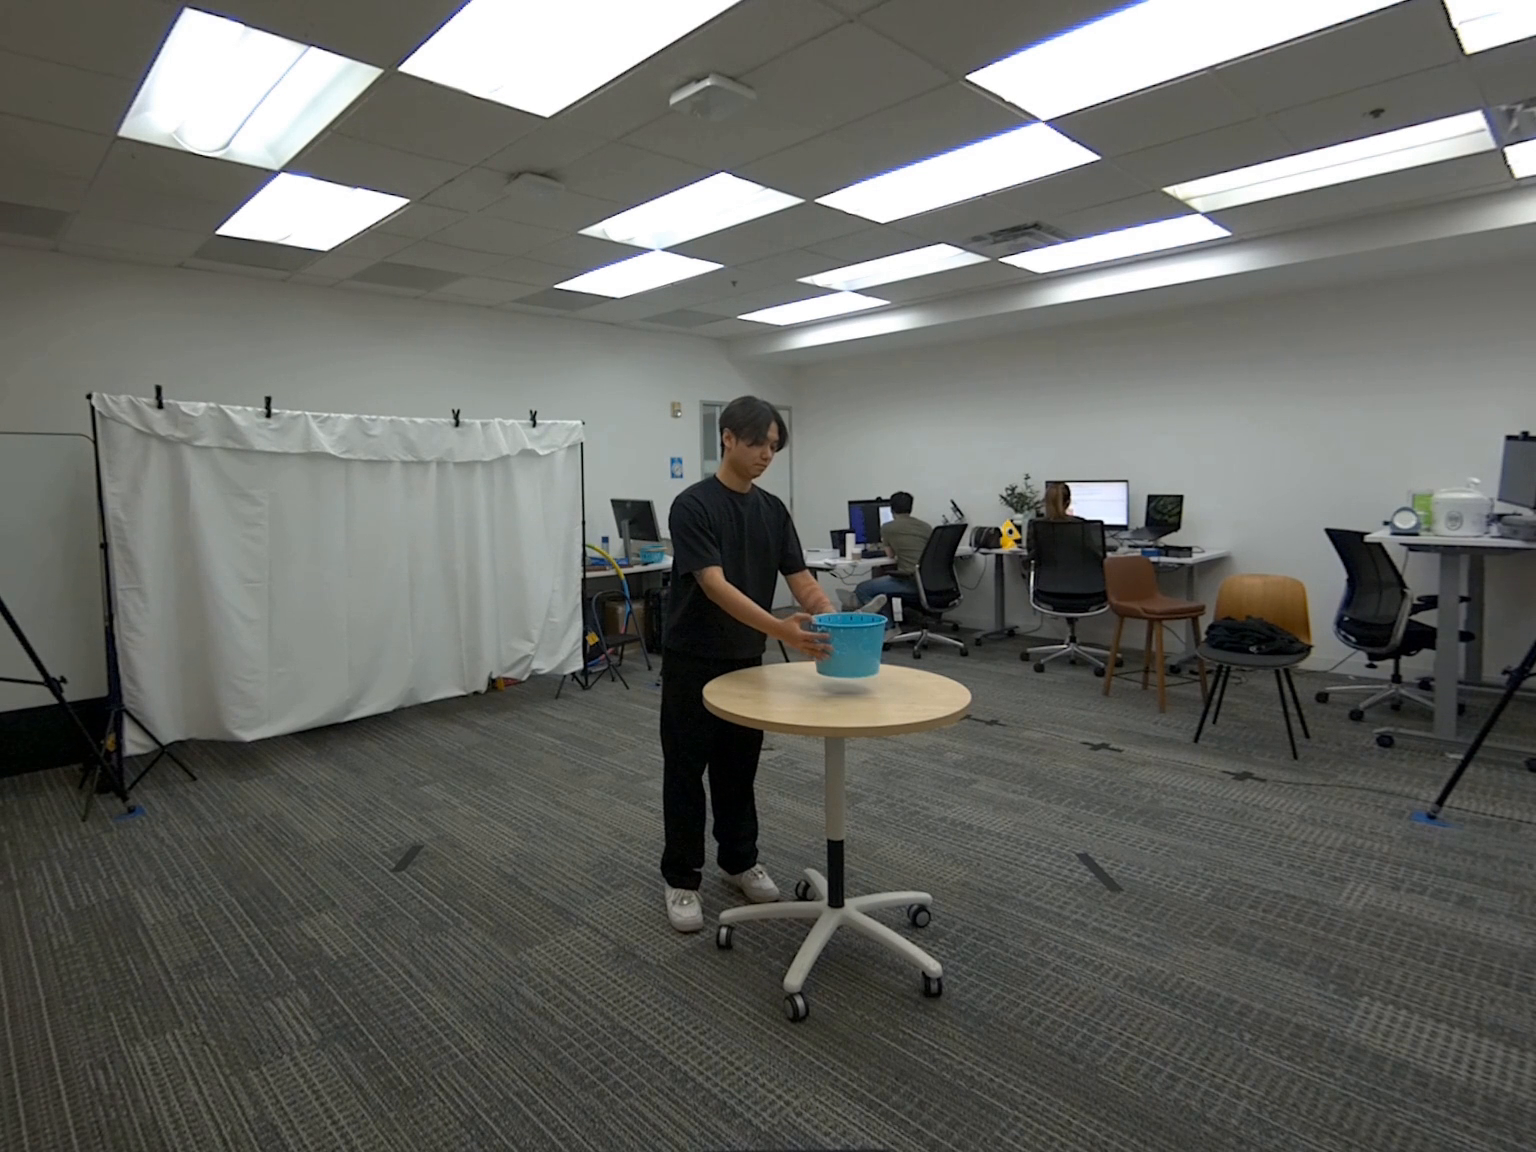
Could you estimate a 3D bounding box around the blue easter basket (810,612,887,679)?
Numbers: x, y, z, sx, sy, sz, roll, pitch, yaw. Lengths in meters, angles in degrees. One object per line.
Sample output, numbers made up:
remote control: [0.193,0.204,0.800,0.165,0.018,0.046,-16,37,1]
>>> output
blue easter basket: [0.232,0.199,2.476,0.243,0.155,0.245,-2,6,-2]
